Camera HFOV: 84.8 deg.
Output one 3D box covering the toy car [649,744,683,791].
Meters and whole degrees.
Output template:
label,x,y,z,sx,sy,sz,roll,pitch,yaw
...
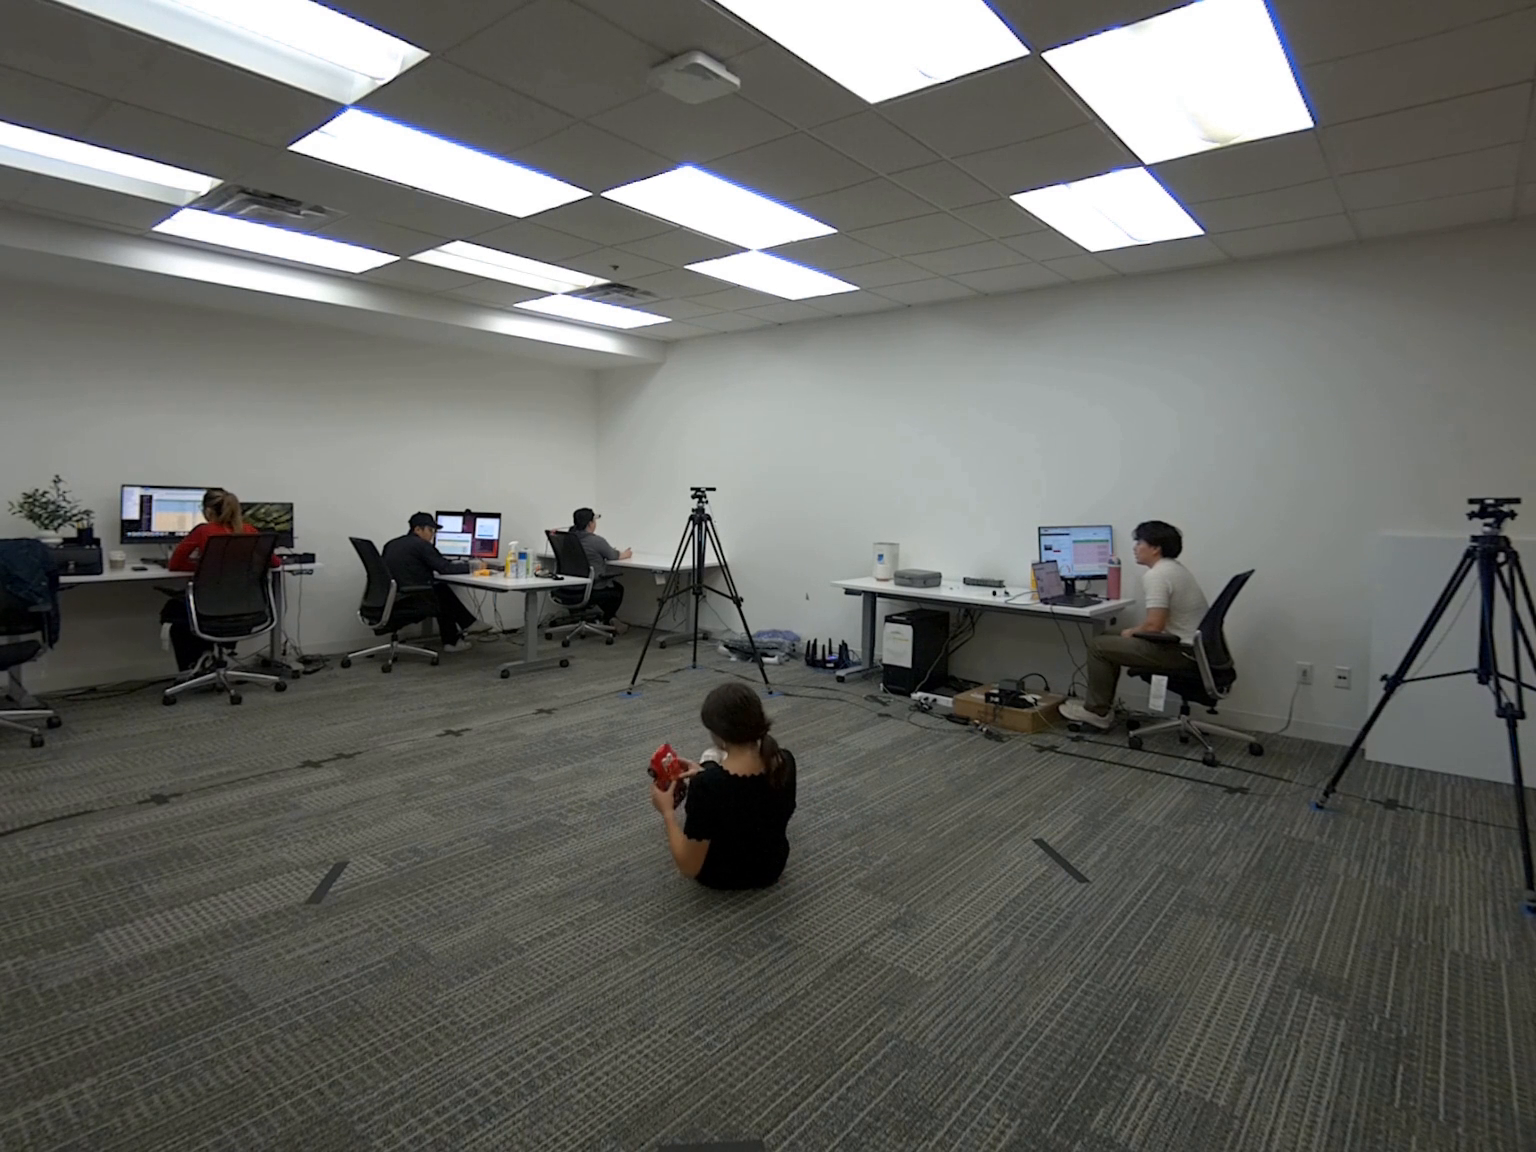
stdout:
label,x,y,z,sx,sy,sz,roll,pitch,yaw
toy car,-0.361,0.717,3.054,0.086,0.248,0.129,13,33,31
